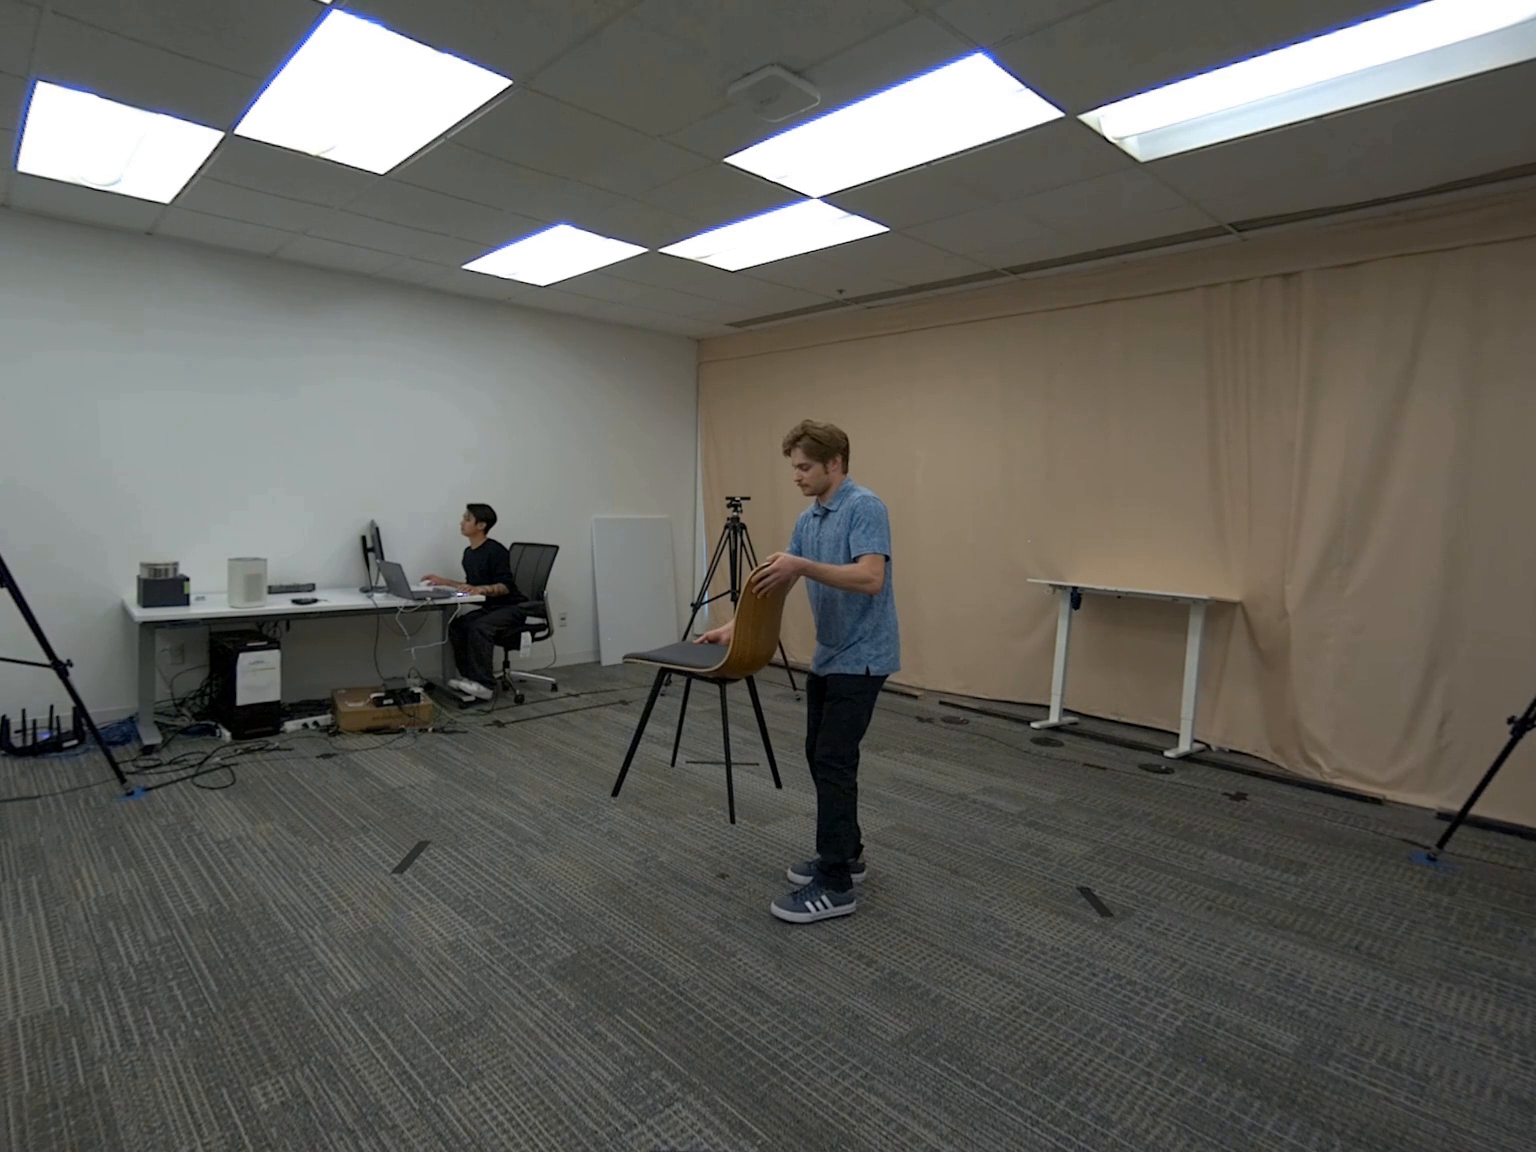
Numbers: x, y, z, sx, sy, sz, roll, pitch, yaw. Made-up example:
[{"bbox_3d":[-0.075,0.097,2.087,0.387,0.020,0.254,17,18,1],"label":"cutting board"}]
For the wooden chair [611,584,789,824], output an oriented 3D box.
[{"bbox_3d":[-0.219,0.338,2.942,0.533,0.875,0.470,9,4,22],"label":"wooden chair"}]
